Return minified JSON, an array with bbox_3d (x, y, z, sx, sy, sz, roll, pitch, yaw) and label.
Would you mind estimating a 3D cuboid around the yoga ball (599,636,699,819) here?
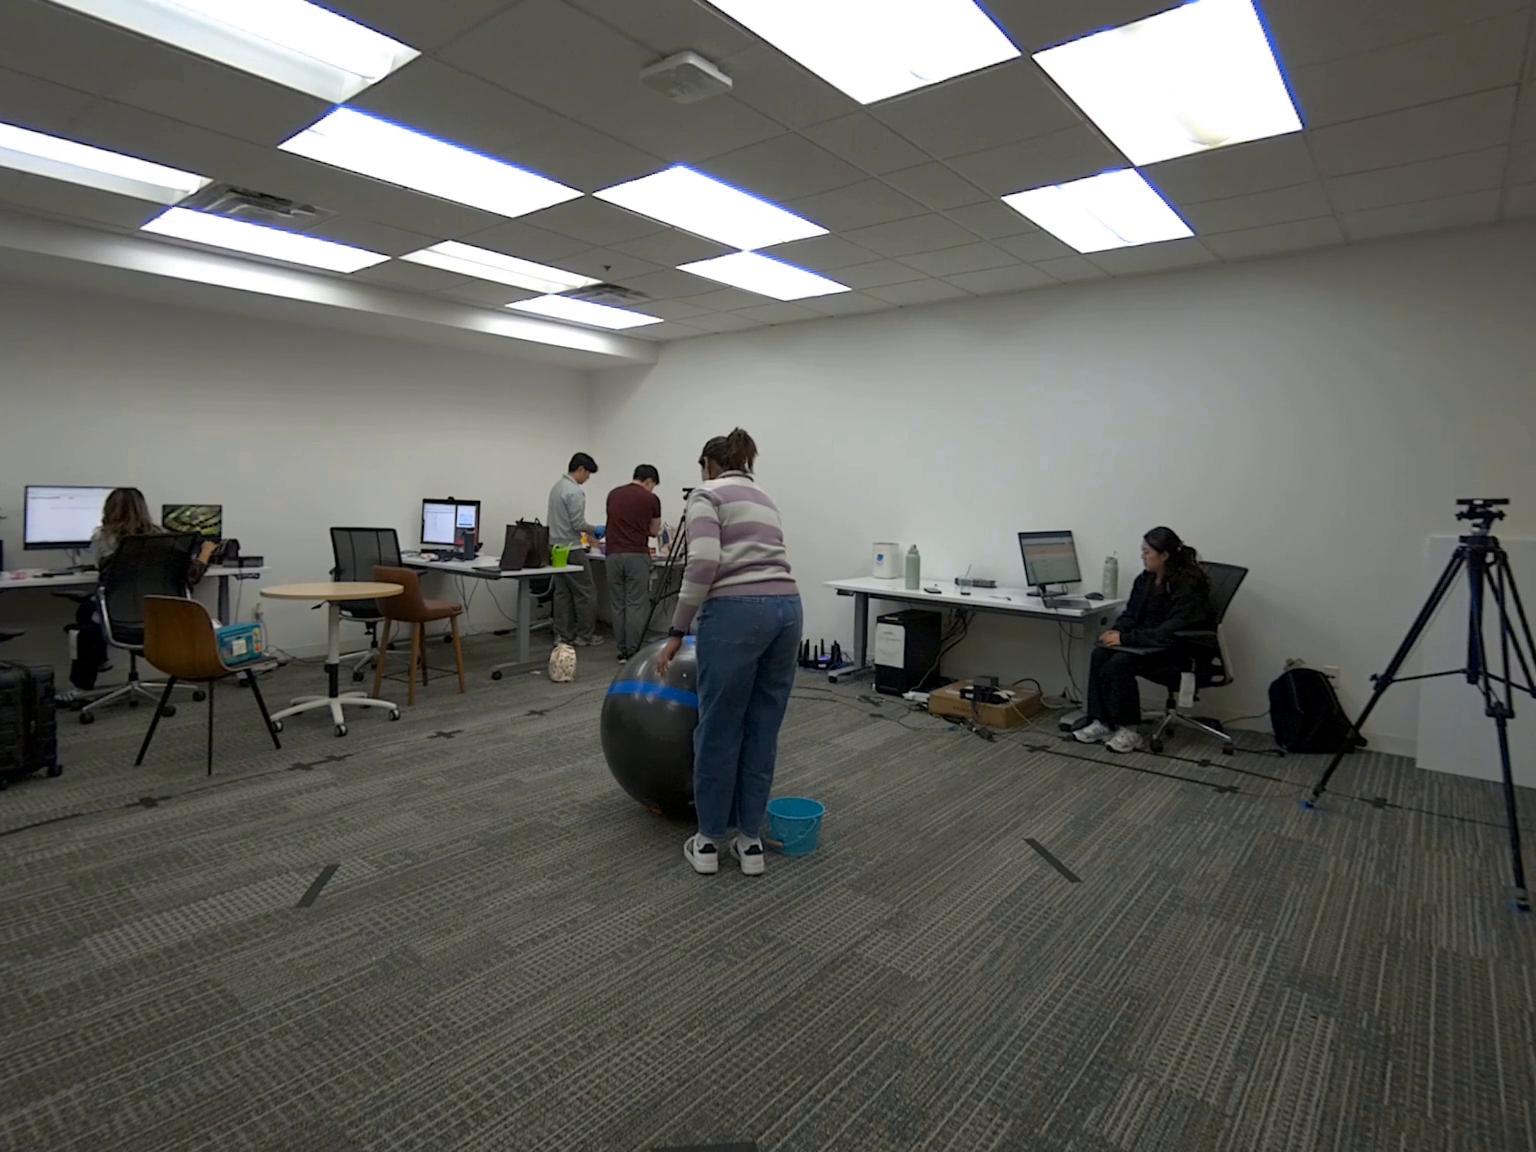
[{"bbox_3d":[-0.363,0.645,3.699,0.757,0.756,0.762,1,4,-2],"label":"yoga ball"}]
